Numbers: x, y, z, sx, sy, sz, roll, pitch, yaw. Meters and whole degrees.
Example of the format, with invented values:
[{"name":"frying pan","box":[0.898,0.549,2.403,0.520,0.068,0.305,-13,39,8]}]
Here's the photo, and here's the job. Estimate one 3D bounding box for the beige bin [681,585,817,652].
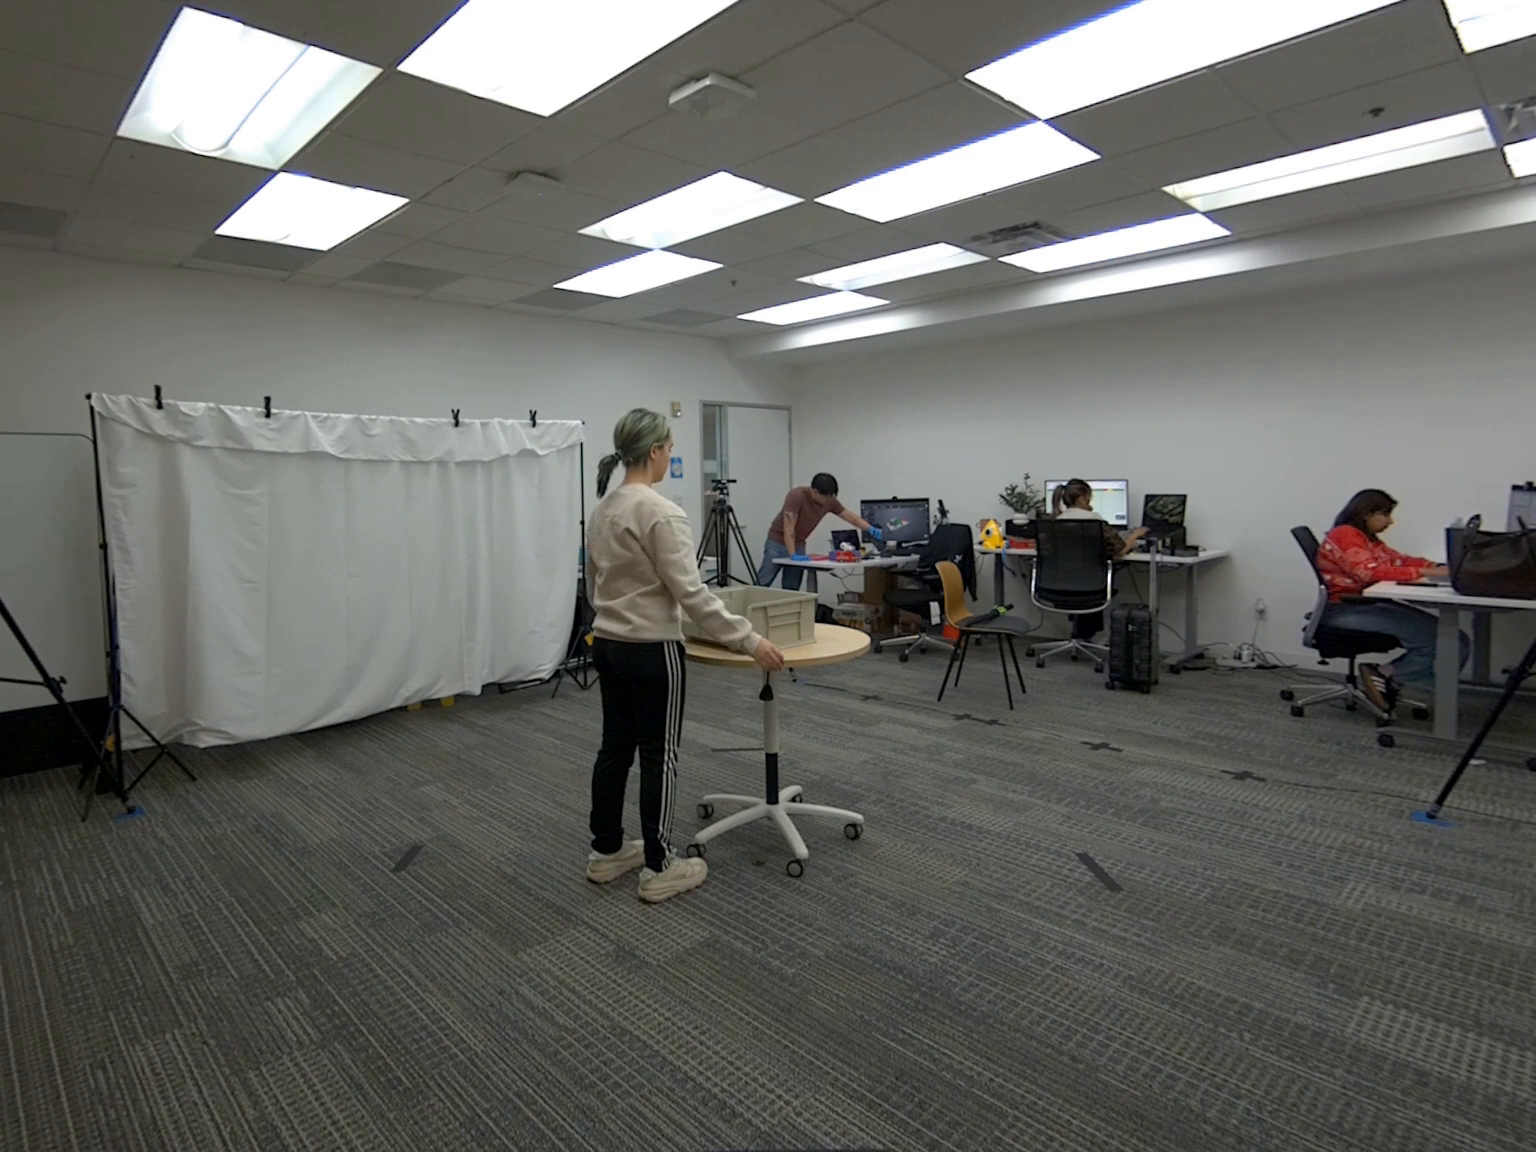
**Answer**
[{"name":"beige bin","box":[-0.083,0.161,3.235,0.367,0.188,0.435,-5,7,-40]}]
